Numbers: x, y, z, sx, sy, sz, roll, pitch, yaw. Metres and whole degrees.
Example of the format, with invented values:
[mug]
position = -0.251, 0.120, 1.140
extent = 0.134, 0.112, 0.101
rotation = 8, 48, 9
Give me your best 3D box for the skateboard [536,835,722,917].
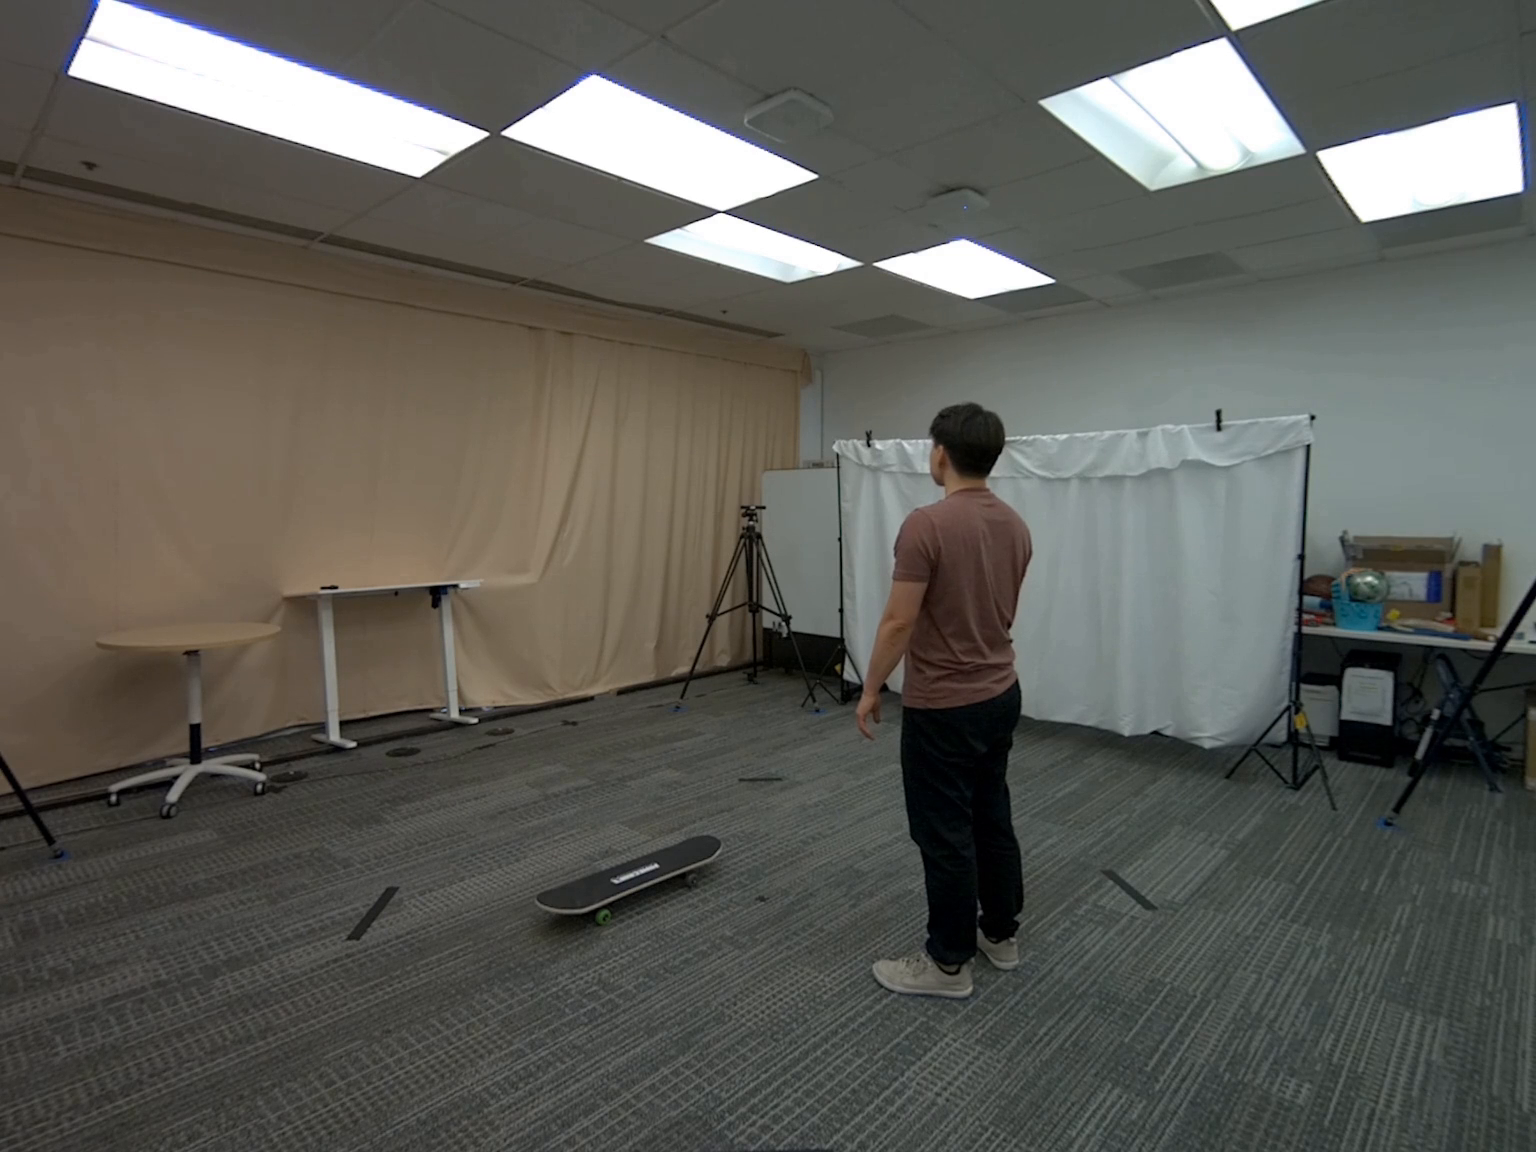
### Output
[skateboard]
position = -0.472, 1.092, 2.995
extent = 0.200, 0.110, 0.761
rotation = 5, 7, 45
